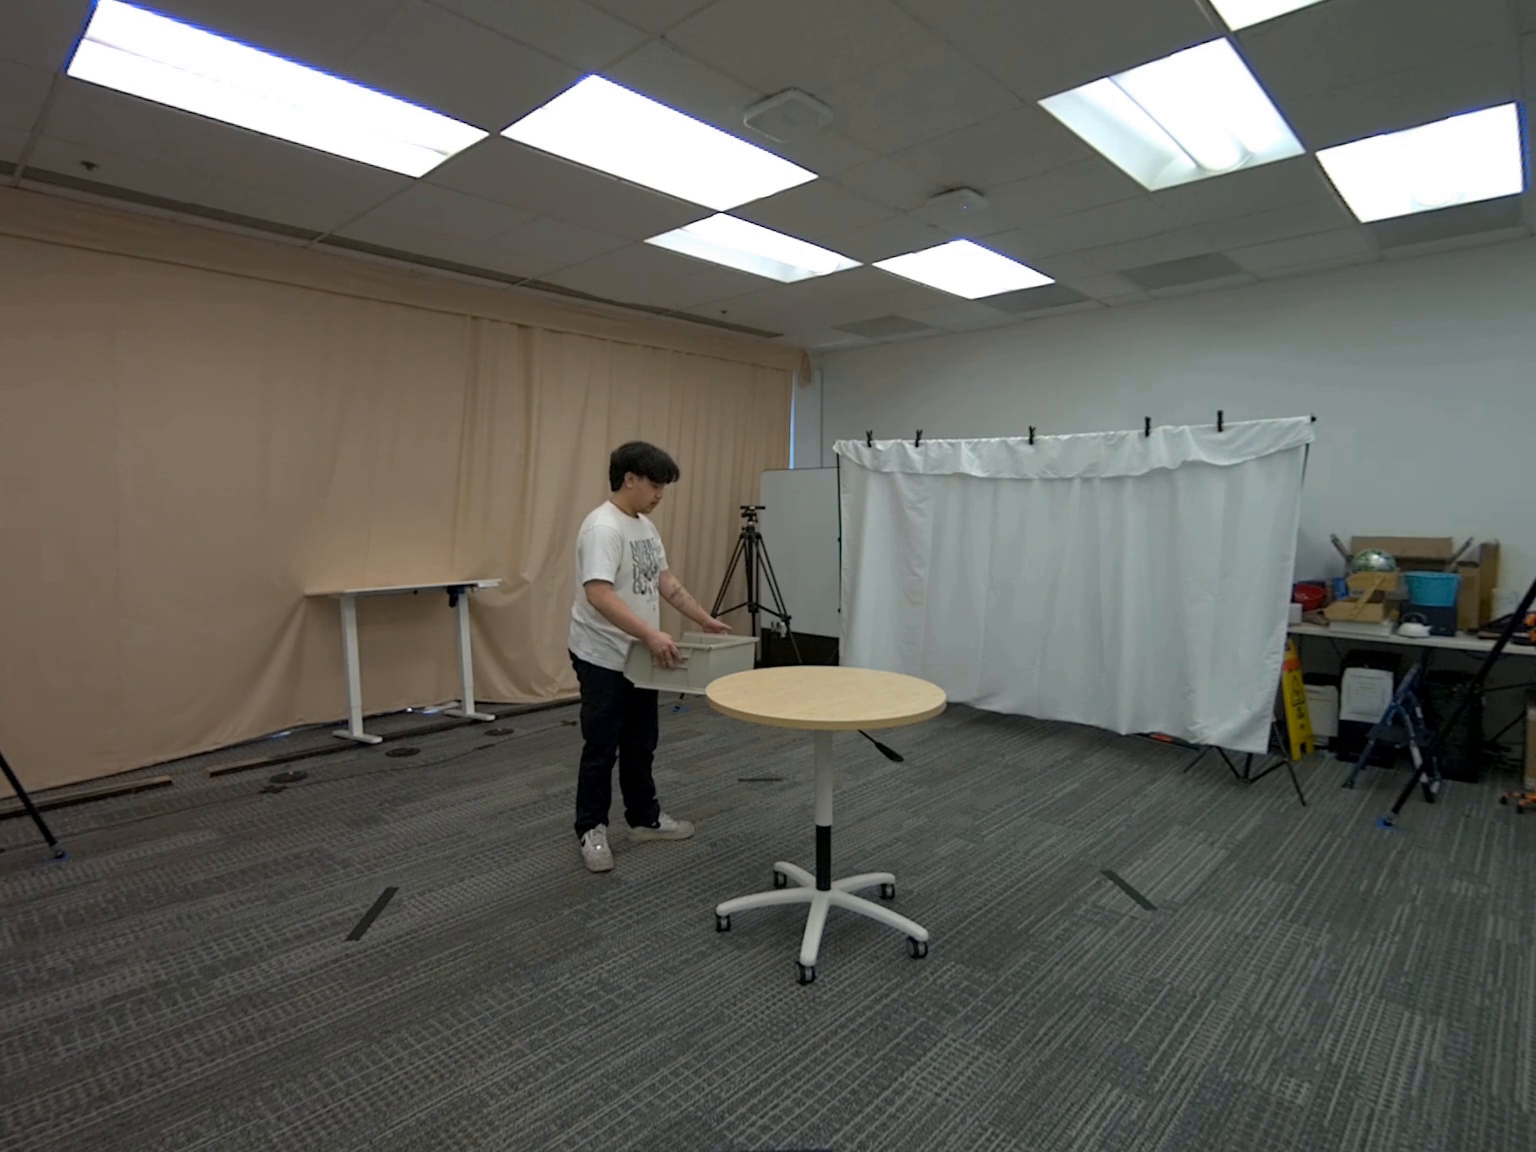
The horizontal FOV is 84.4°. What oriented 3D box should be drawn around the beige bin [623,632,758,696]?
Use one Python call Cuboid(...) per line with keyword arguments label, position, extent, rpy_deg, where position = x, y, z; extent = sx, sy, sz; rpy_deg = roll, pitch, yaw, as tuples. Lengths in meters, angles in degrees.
Cuboid(label="beige bin", position=(-0.298, 0.331, 3.292), extent=(0.387, 0.189, 0.411), rpy_deg=(3, 1, 26))
